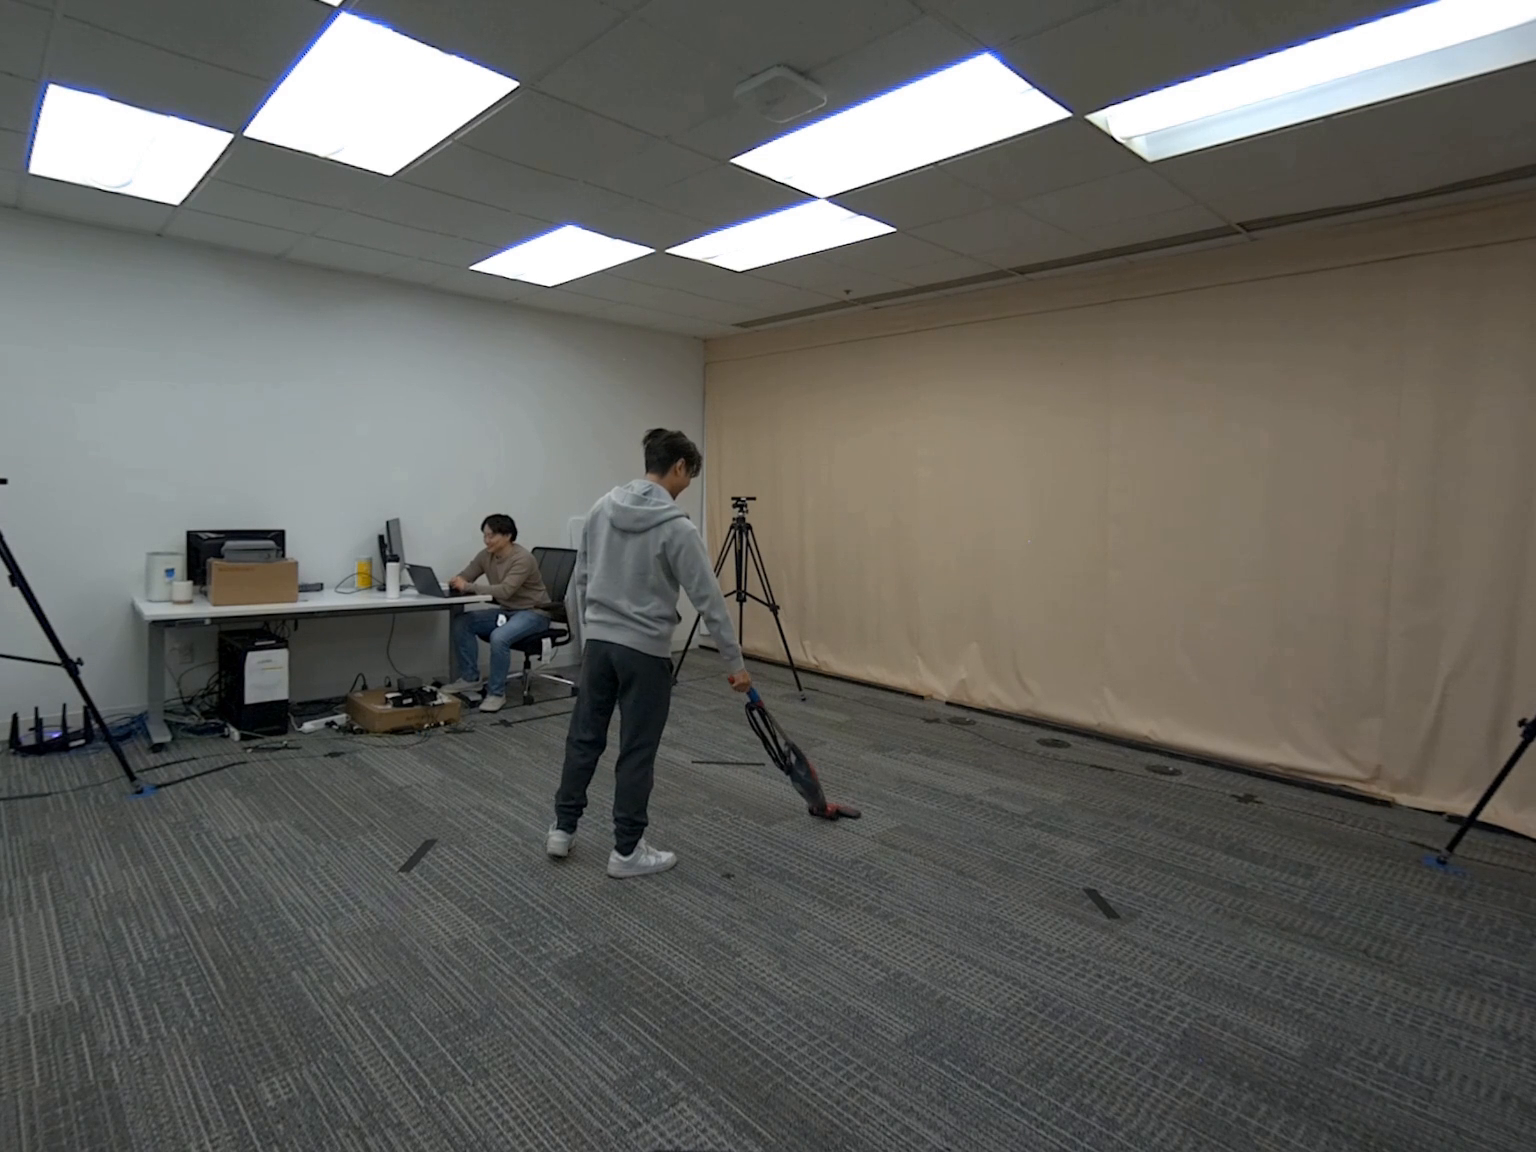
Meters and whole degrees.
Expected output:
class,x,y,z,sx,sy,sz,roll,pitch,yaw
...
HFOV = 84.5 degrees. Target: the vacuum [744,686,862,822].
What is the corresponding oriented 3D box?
class,x,y,z,sx,sy,sz,roll,pitch,yaw
vacuum,0.062,0.721,3.426,0.258,0.145,1.017,5,-38,34
